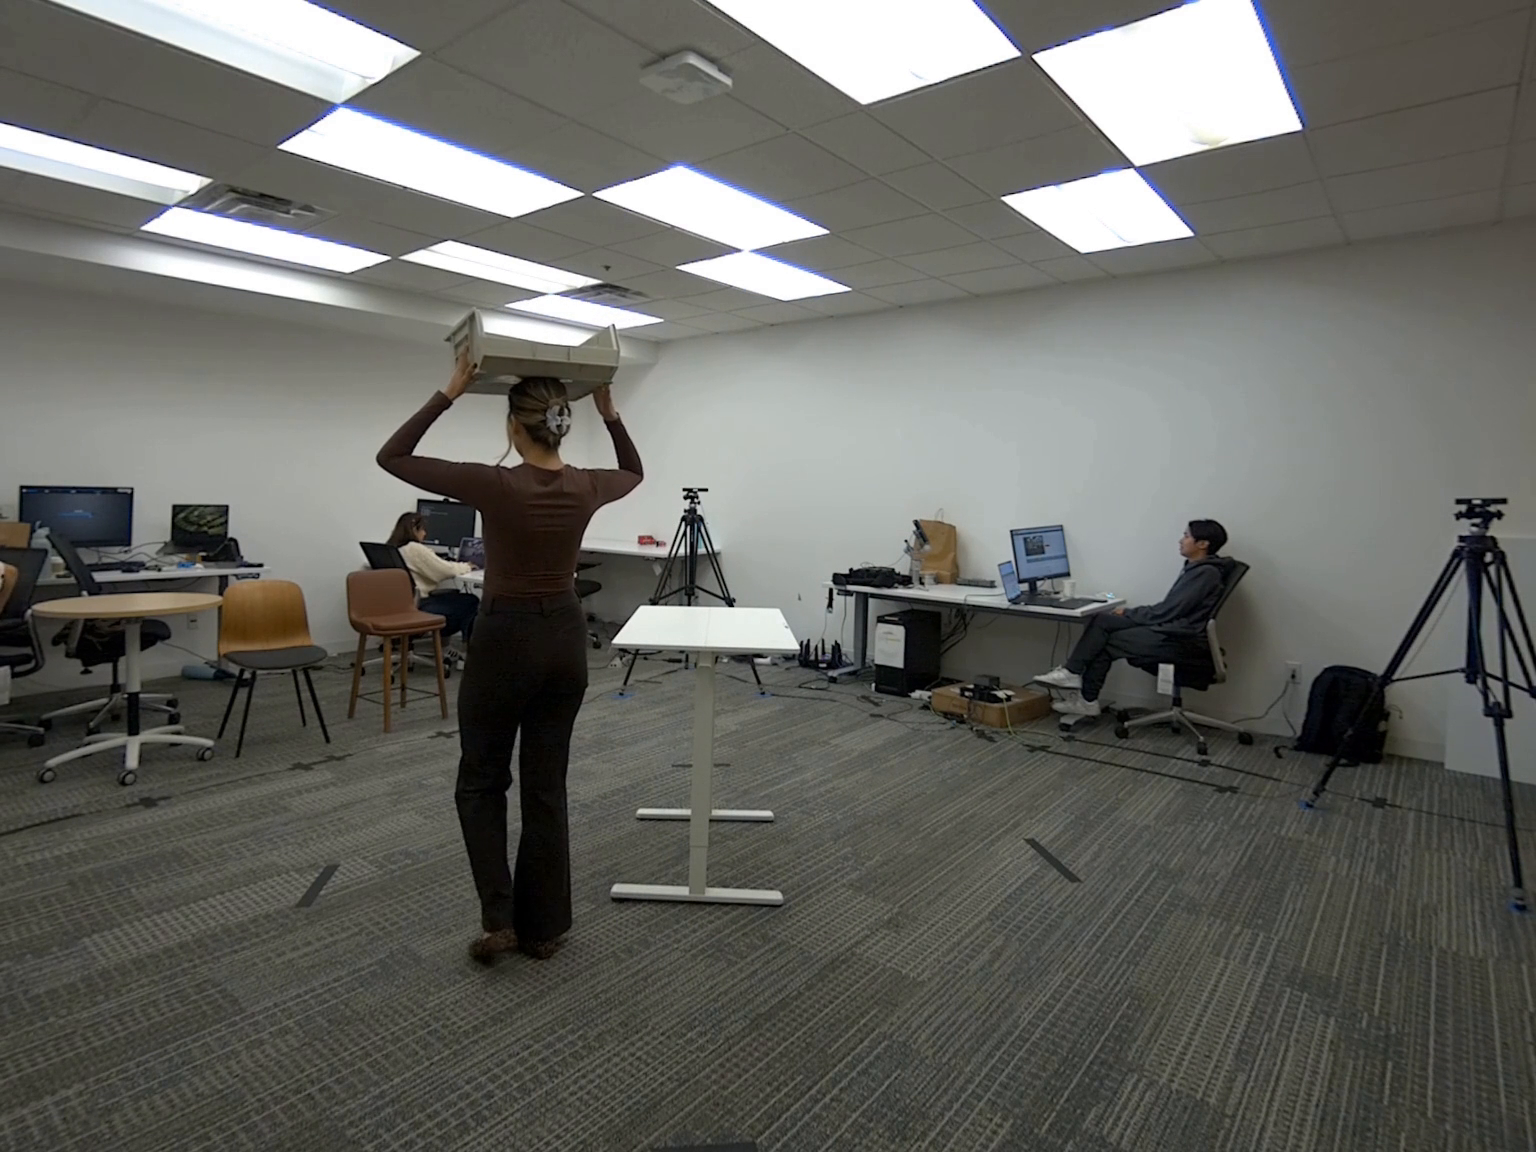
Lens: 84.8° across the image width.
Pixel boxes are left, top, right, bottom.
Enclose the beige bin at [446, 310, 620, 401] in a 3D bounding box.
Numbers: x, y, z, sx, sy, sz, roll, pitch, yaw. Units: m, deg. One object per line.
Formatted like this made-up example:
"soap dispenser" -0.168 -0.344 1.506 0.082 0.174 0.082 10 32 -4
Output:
"beige bin" -0.717 -0.657 2.551 0.411 0.189 0.387 -3 0 -32
